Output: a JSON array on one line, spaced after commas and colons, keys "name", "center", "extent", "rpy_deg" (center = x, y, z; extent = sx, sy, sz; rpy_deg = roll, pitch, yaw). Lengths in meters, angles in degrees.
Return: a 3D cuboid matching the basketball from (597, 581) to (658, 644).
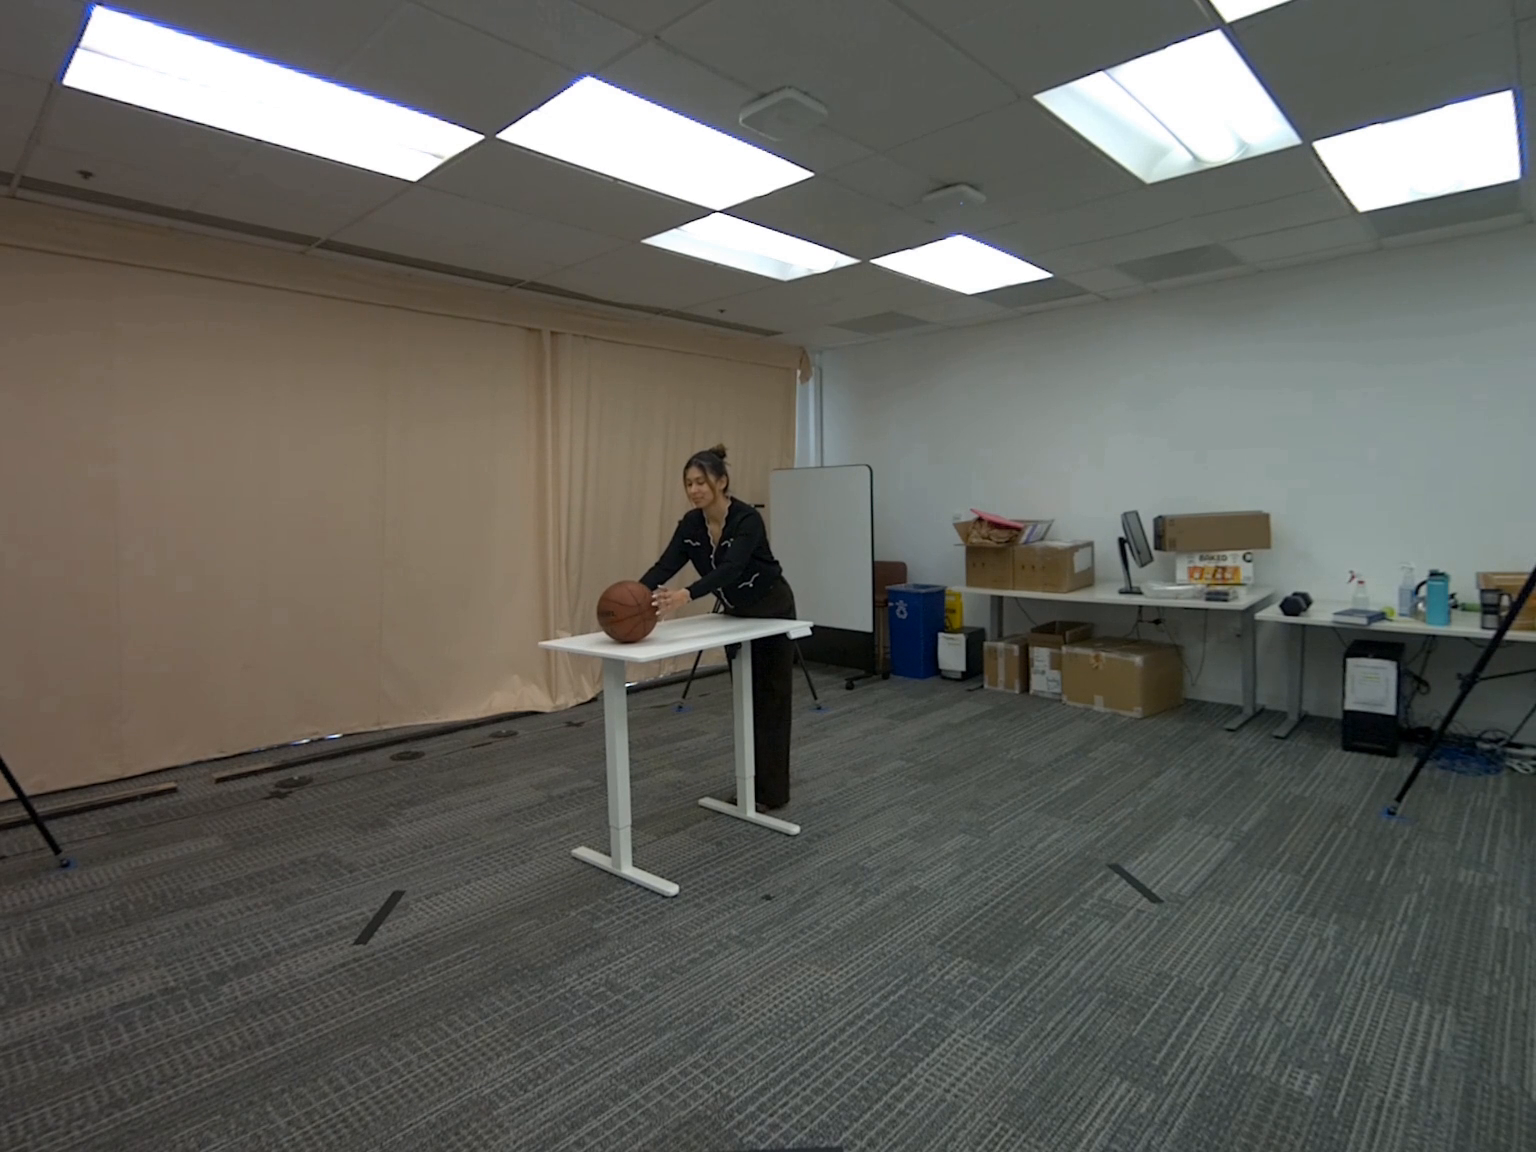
[{"name": "basketball", "center": [-0.527, 0.135, 3.206], "extent": [0.236, 0.235, 0.237], "rpy_deg": [-1, 4, -2]}]
